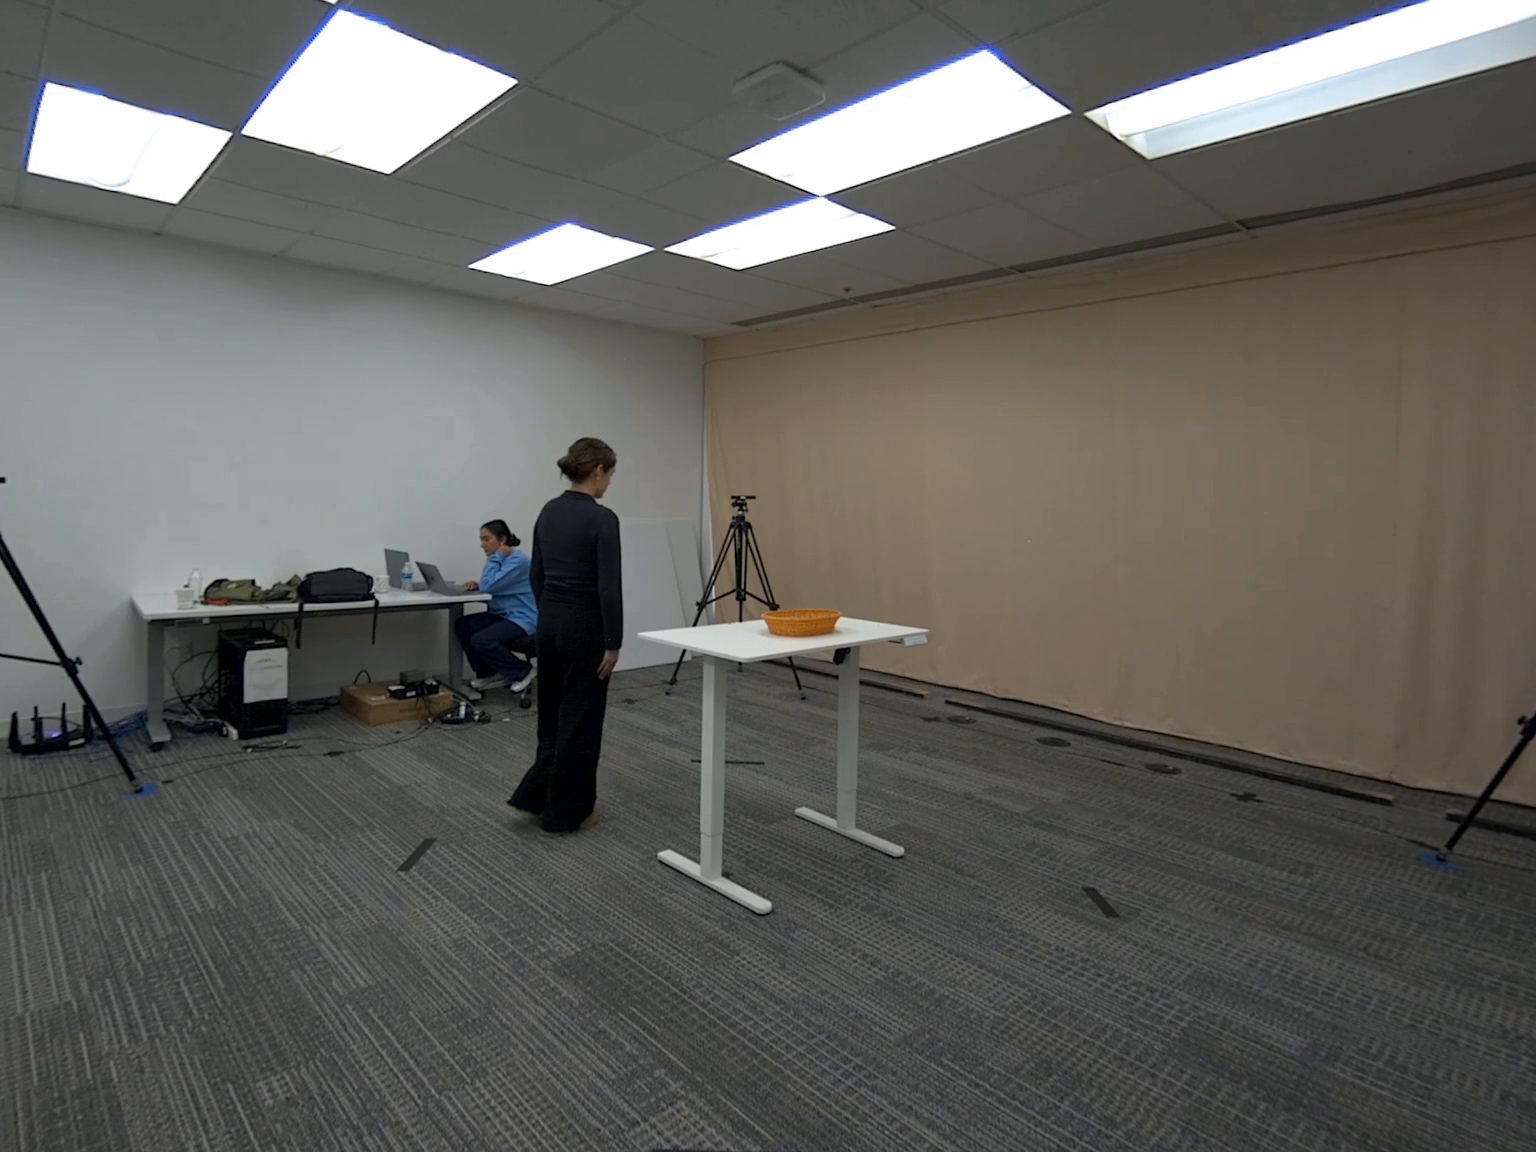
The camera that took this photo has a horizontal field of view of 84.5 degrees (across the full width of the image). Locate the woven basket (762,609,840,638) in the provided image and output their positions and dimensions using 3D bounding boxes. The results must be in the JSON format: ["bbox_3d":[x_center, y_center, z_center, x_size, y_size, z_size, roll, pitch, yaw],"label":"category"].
[{"bbox_3d":[0.121,0.186,3.238,0.342,0.073,0.259,-4,6,-42],"label":"woven basket"}]
